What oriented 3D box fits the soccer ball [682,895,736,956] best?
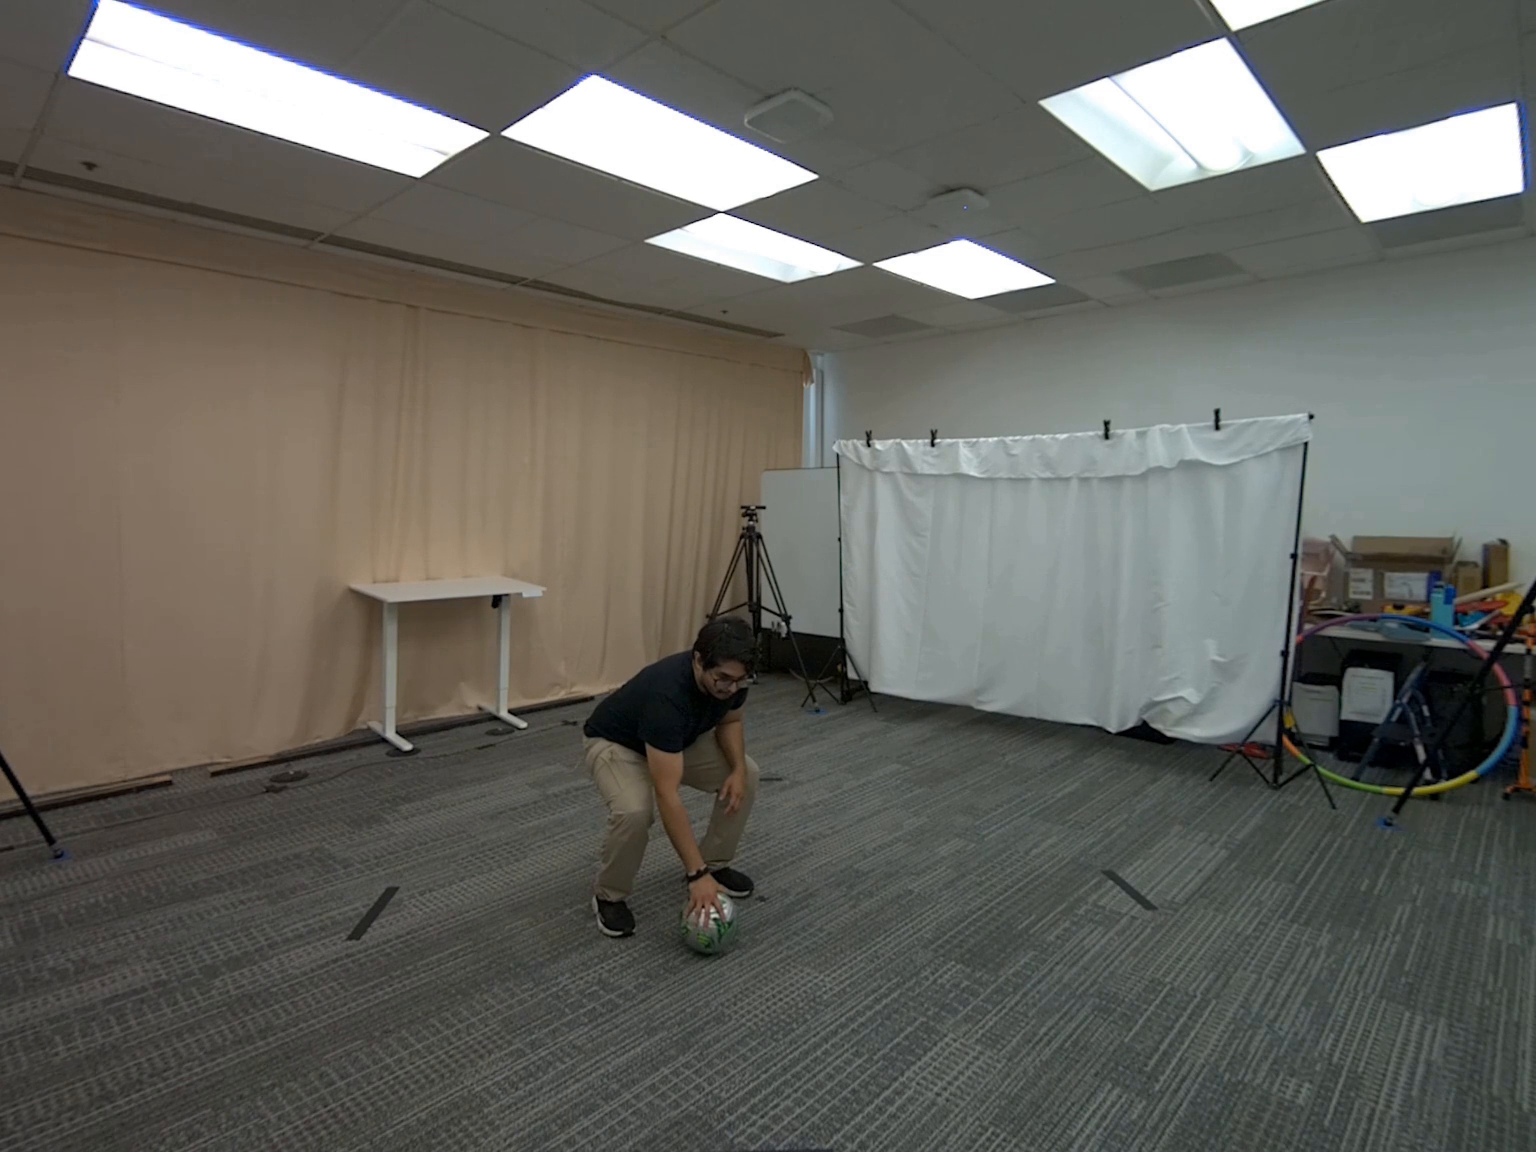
[{"bbox_3d":[-0.186,1.076,2.644,0.187,0.187,0.188,0,4,-2],"label":"soccer ball"}]
